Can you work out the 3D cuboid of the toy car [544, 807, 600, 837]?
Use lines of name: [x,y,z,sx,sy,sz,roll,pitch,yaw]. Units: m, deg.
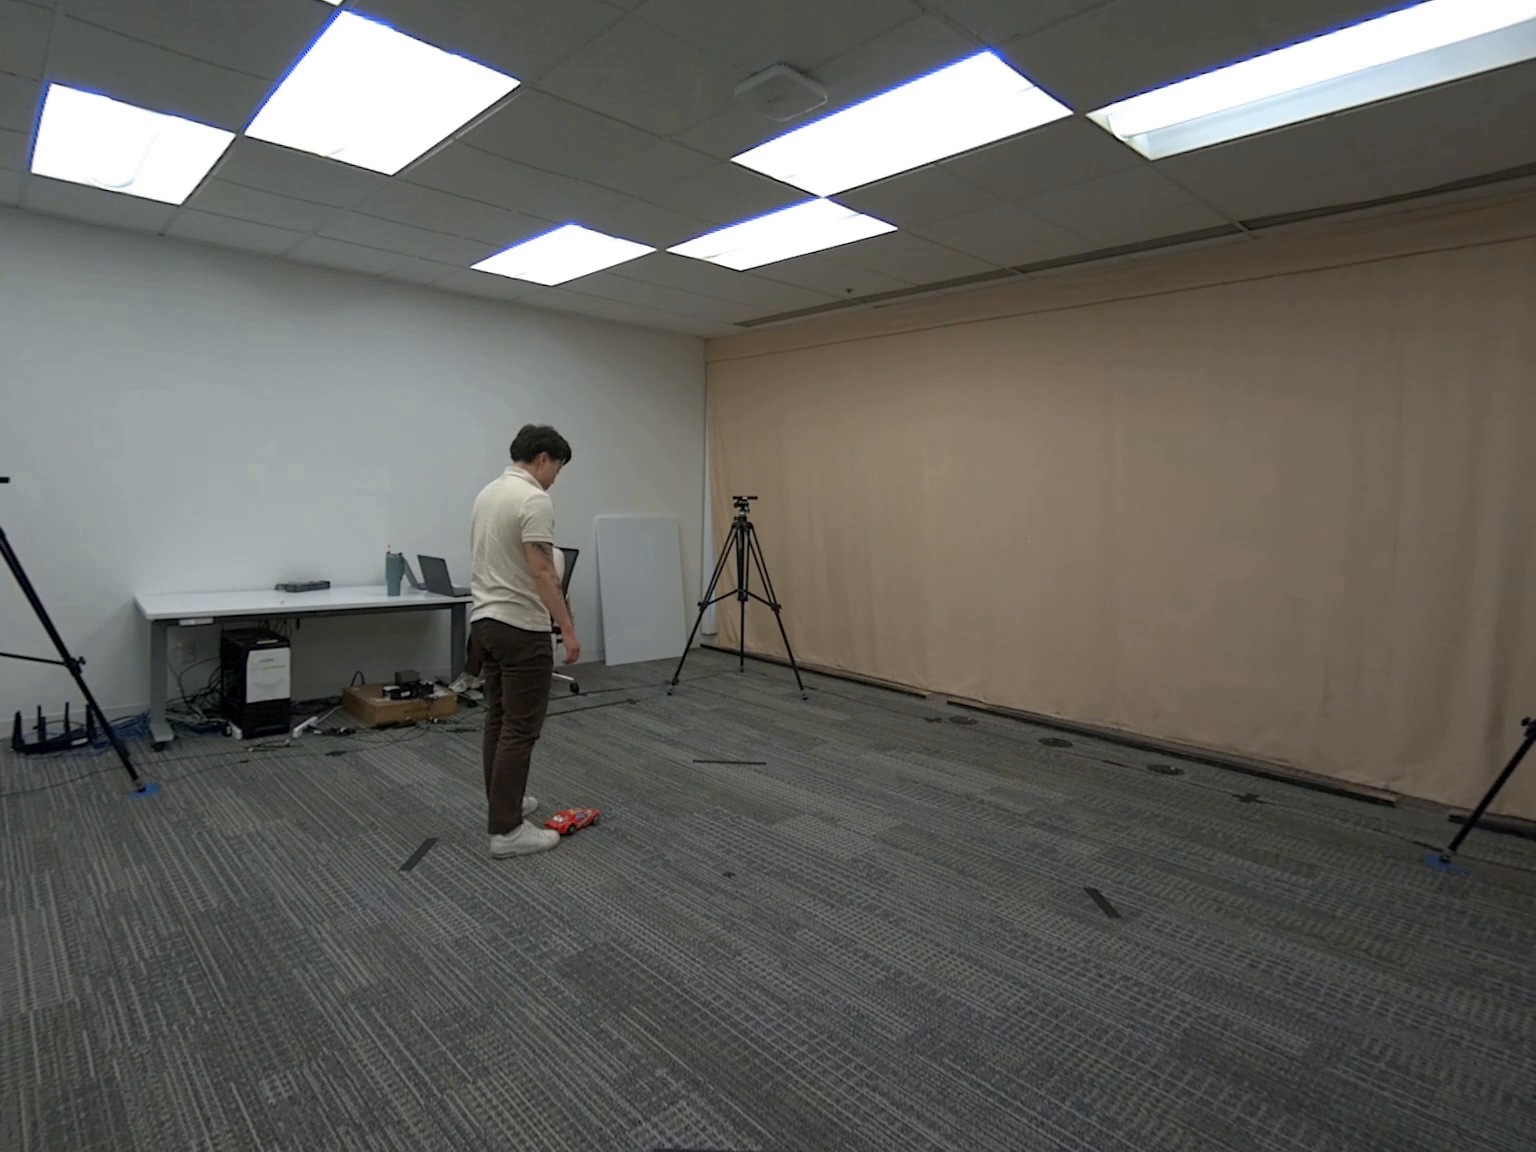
toy car: [-0.830,1.023,3.499,0.133,0.083,0.248,4,-5,35]
